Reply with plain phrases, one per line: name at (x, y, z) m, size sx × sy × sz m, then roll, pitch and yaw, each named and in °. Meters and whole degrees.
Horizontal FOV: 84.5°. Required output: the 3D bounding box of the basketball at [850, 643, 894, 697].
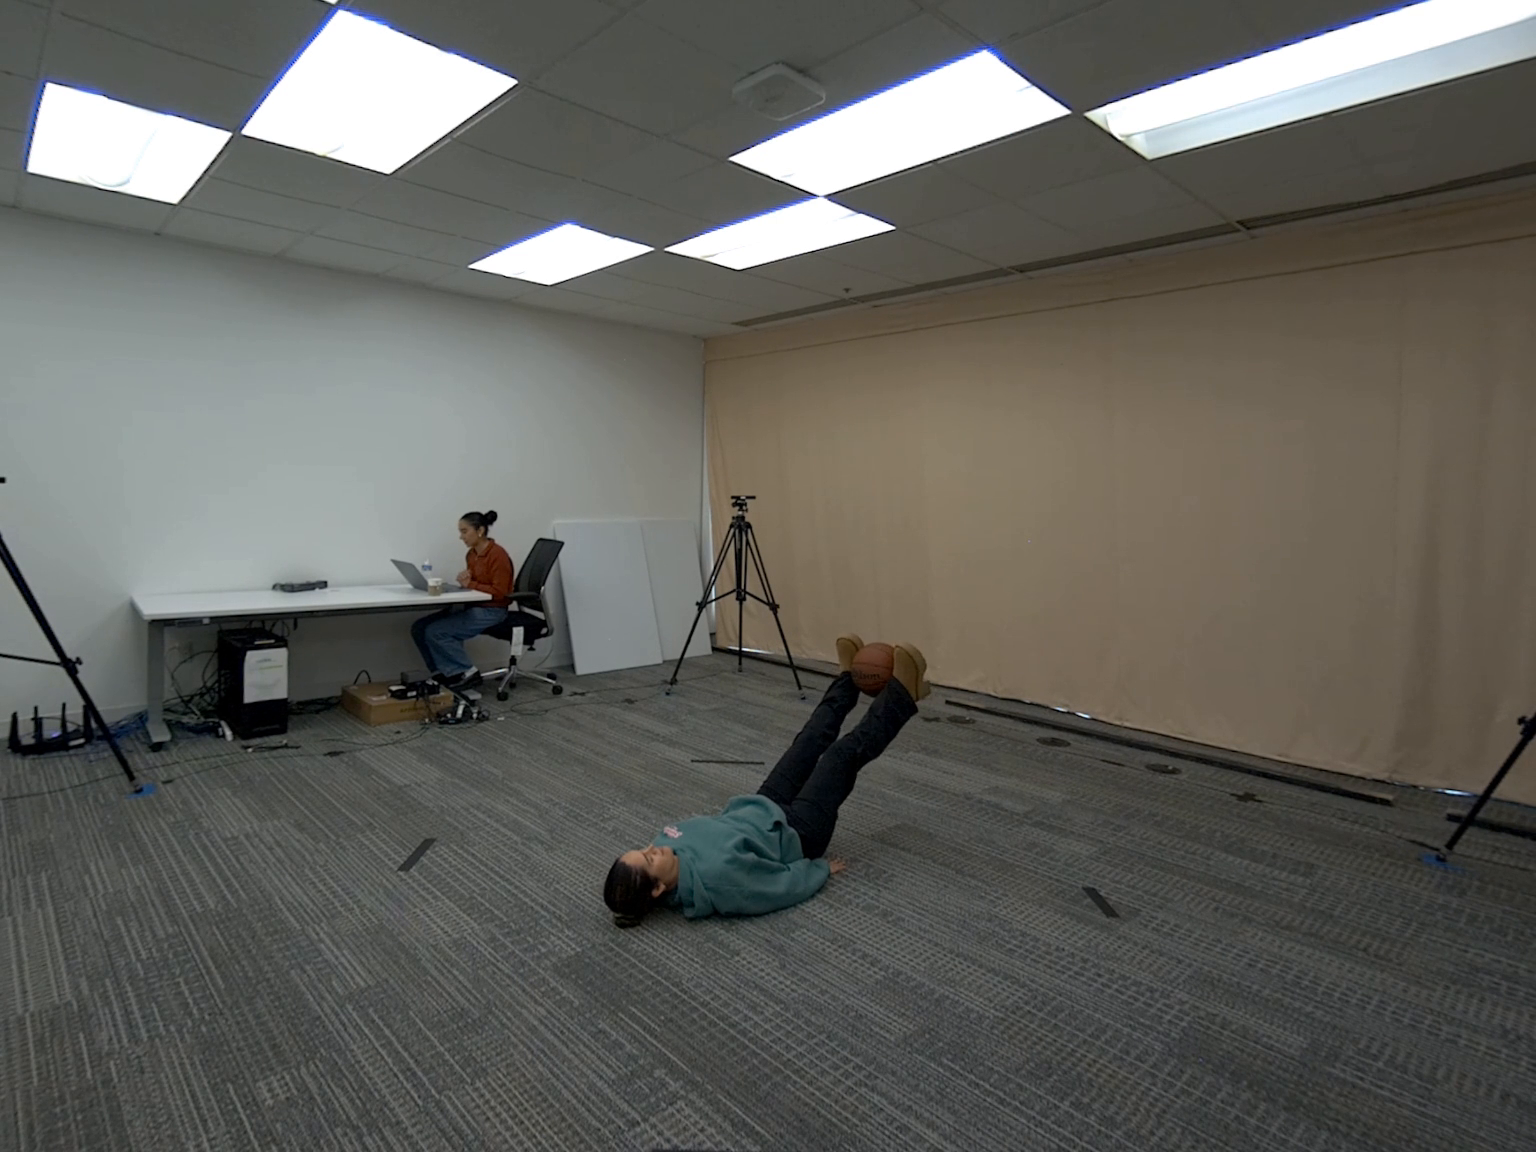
basketball at (0.465, 0.402, 3.607) m, size 0.236 × 0.235 × 0.237 m, roll 1°, pitch 5°, yaw -1°
